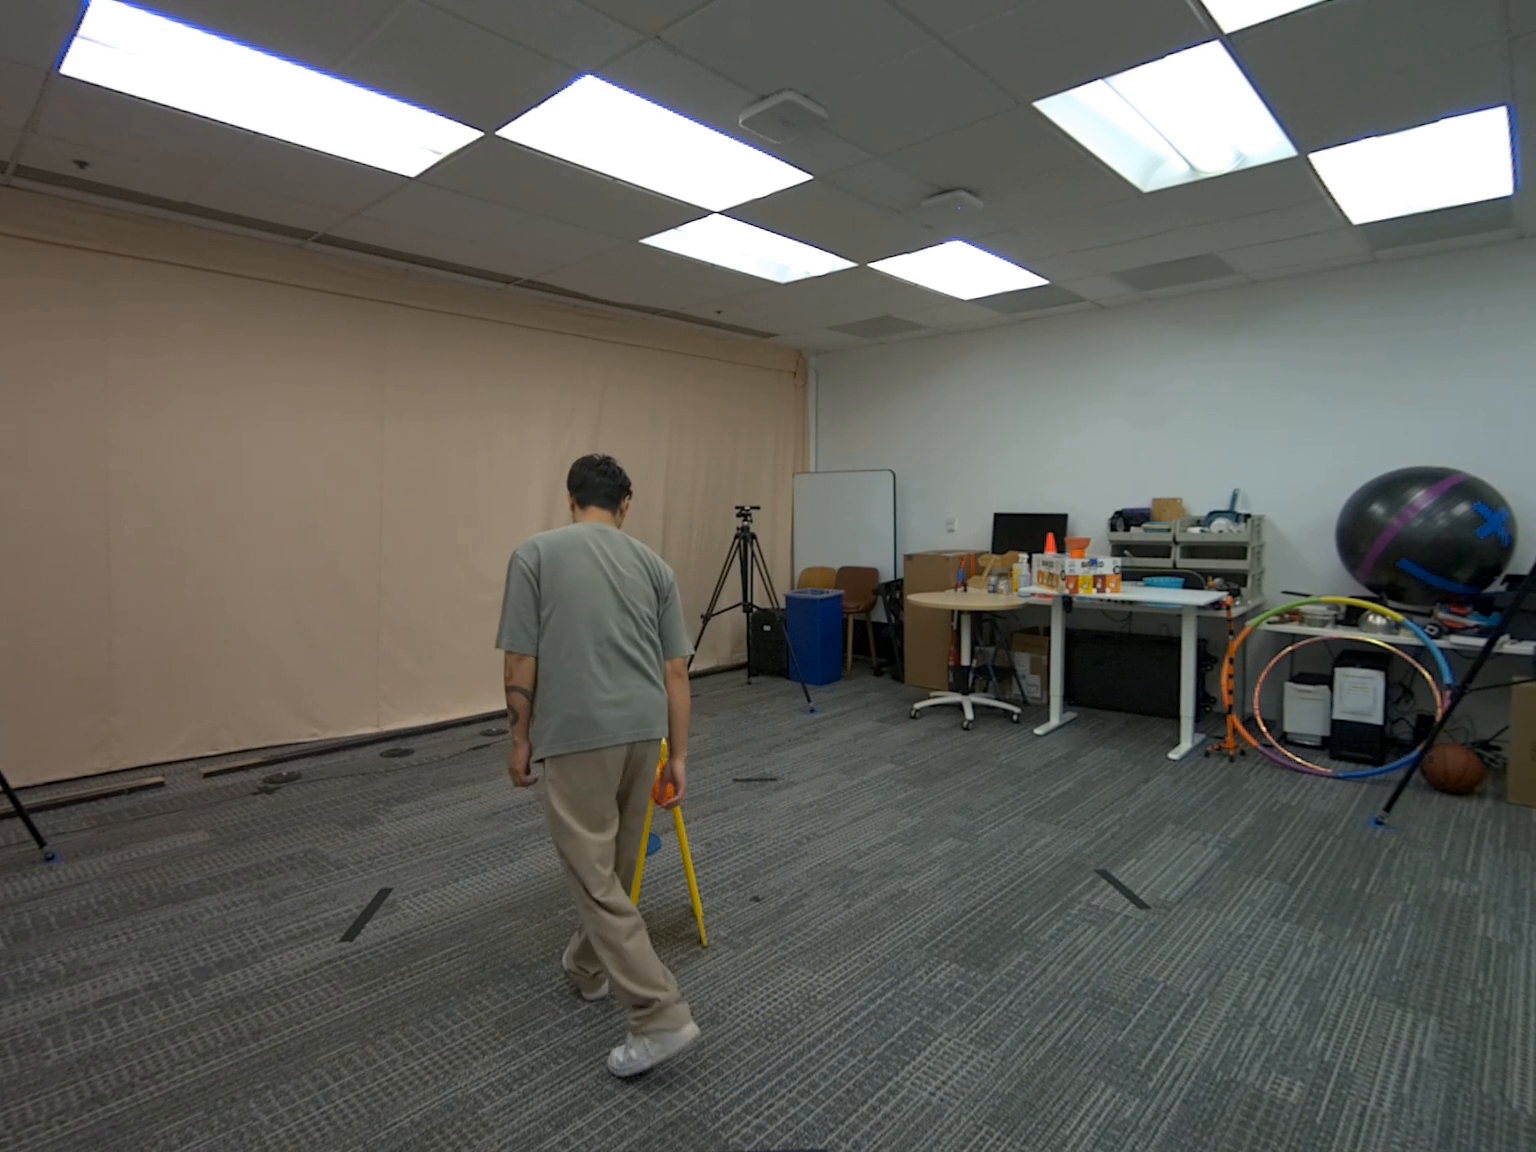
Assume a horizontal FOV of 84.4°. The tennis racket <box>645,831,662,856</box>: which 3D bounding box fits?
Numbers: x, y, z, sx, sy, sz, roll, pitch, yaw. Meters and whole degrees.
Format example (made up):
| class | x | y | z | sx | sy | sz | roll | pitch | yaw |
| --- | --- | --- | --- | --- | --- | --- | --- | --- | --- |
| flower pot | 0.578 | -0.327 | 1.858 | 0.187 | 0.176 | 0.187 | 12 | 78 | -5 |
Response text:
| class | x | y | z | sx | sy | sz | roll | pitch | yaw |
| --- | --- | --- | --- | --- | --- | --- | --- | --- | --- |
| tennis racket | -0.550 | 1.105 | 3.372 | 0.215 | 0.032 | 0.431 | -1 | 4 | 4 |
